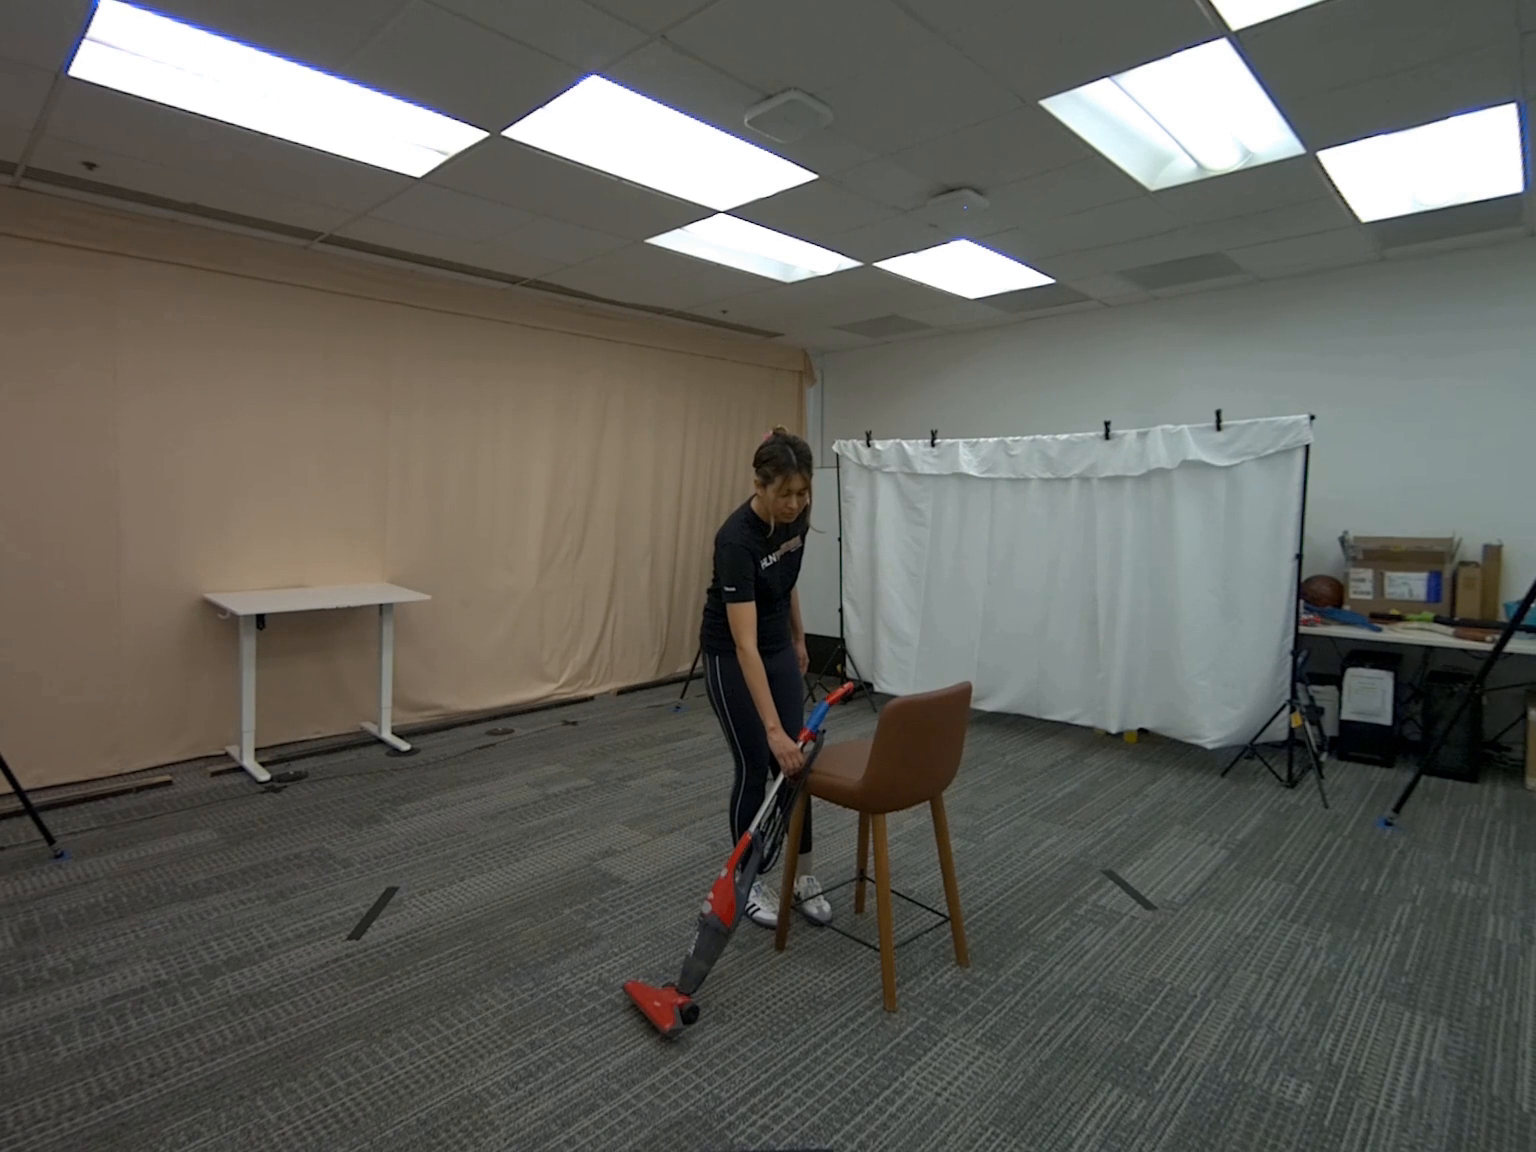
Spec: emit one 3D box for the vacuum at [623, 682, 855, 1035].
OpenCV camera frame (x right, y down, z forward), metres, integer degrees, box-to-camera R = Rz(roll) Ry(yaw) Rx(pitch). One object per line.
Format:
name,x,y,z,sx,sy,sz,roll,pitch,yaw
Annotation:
vacuum,-0.025,0.767,2.429,0.261,1.048,0.139,10,-28,52
